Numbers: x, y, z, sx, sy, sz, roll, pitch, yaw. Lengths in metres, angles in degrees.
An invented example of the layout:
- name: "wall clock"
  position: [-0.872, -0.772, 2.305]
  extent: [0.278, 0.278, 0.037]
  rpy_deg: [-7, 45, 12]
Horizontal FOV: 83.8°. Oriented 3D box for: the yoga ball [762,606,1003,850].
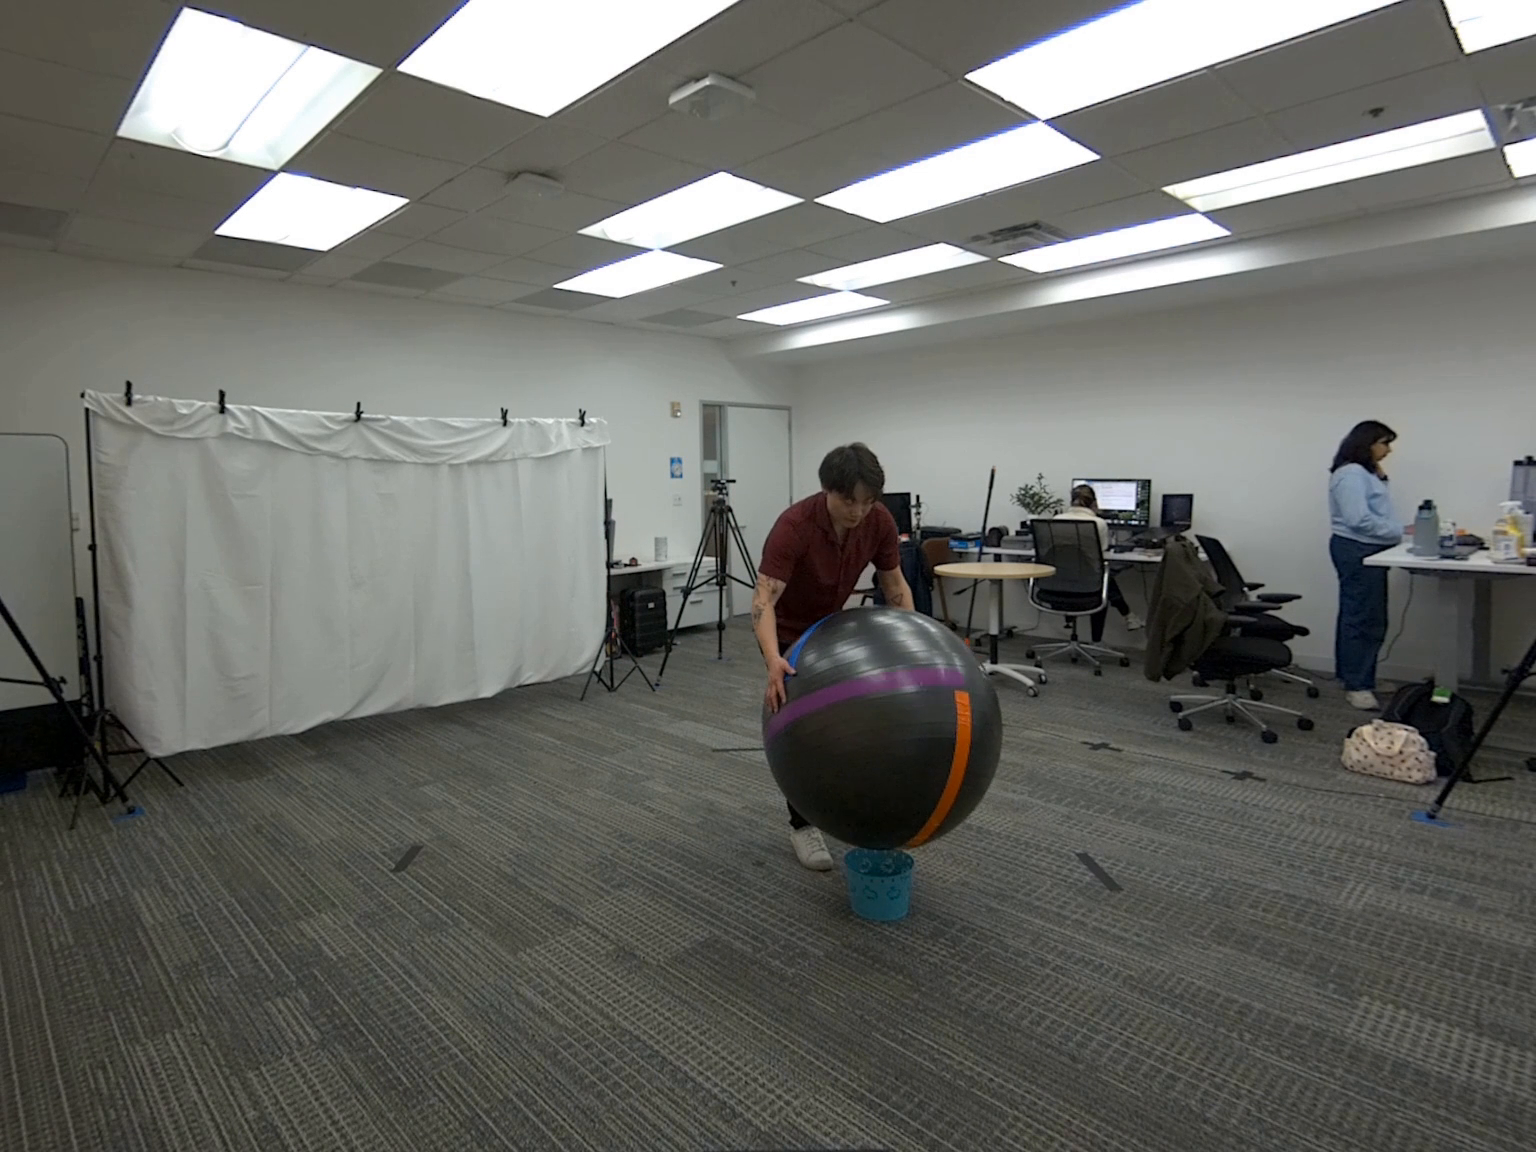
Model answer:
- name: "yoga ball"
  position: [0.364, 0.480, 2.745]
  extent: [0.757, 0.755, 0.762]
  rpy_deg: [-1, 5, -2]
